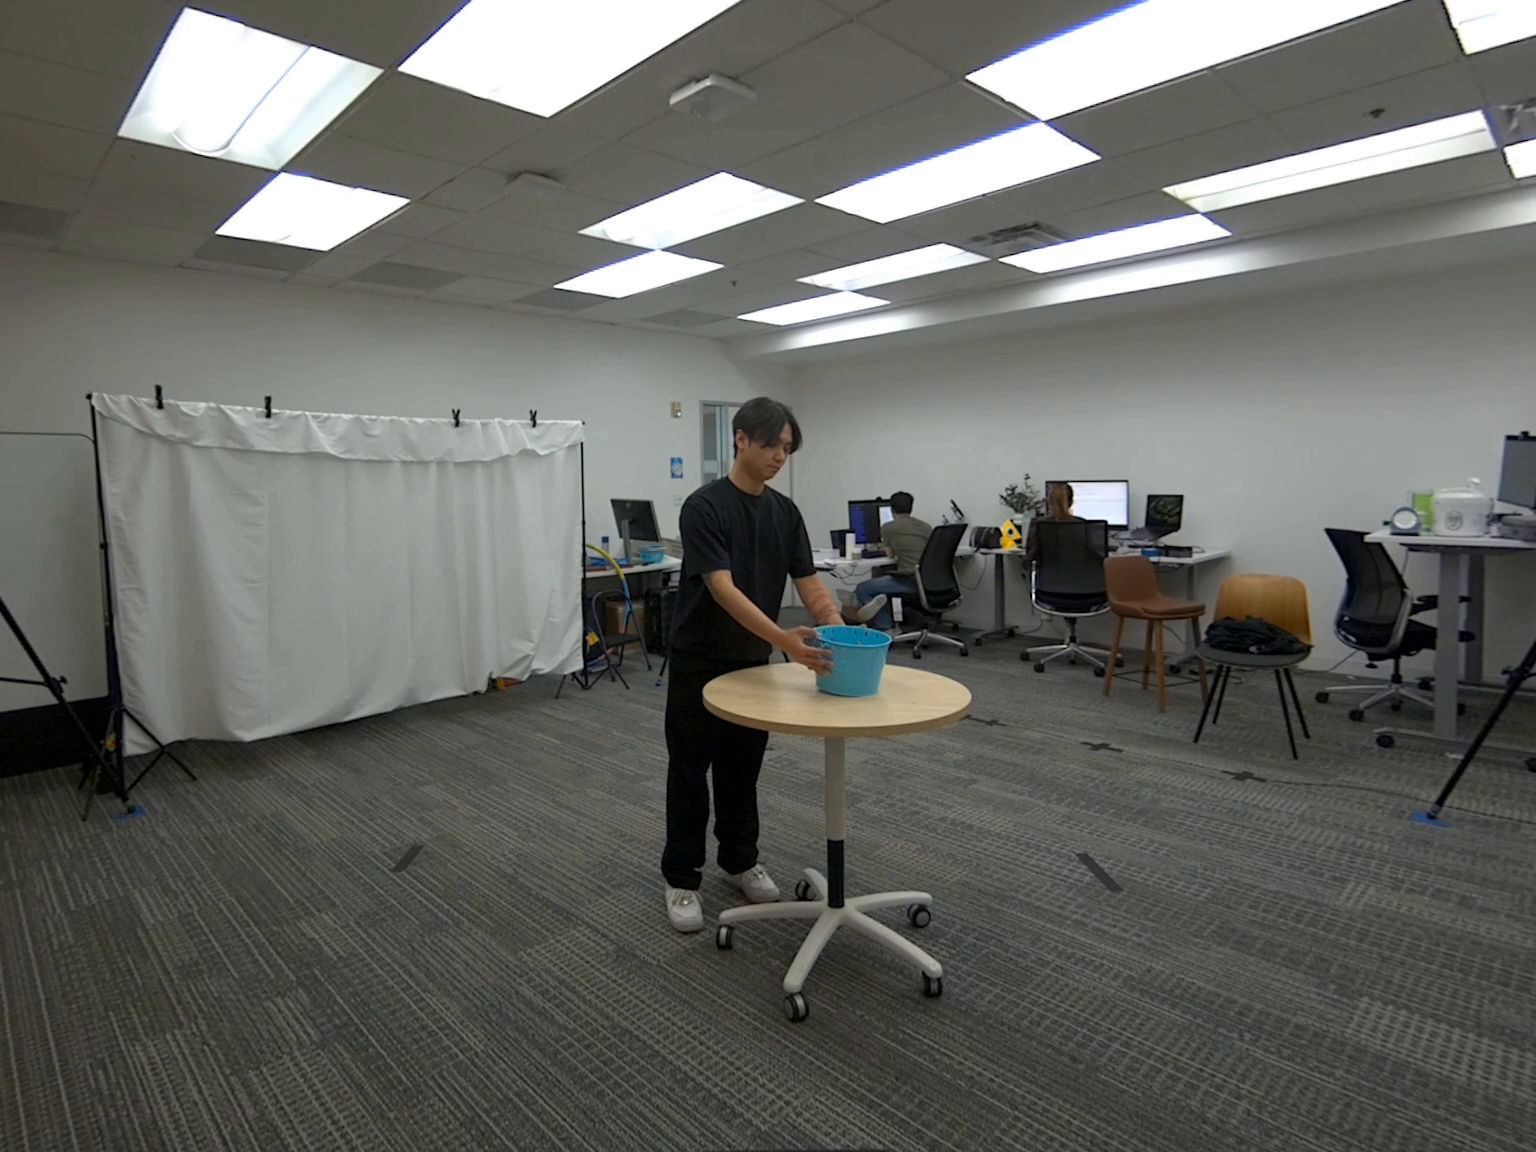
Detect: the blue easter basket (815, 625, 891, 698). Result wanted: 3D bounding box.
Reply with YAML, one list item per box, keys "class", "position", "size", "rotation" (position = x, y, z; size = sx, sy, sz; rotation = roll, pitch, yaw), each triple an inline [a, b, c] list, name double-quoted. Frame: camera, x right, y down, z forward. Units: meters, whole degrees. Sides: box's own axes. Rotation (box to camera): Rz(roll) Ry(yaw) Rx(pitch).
- class: "blue easter basket"
  position: [0.243, 0.246, 2.467]
  size: [0.243, 0.155, 0.246]
  rotation: [3, 9, -2]
